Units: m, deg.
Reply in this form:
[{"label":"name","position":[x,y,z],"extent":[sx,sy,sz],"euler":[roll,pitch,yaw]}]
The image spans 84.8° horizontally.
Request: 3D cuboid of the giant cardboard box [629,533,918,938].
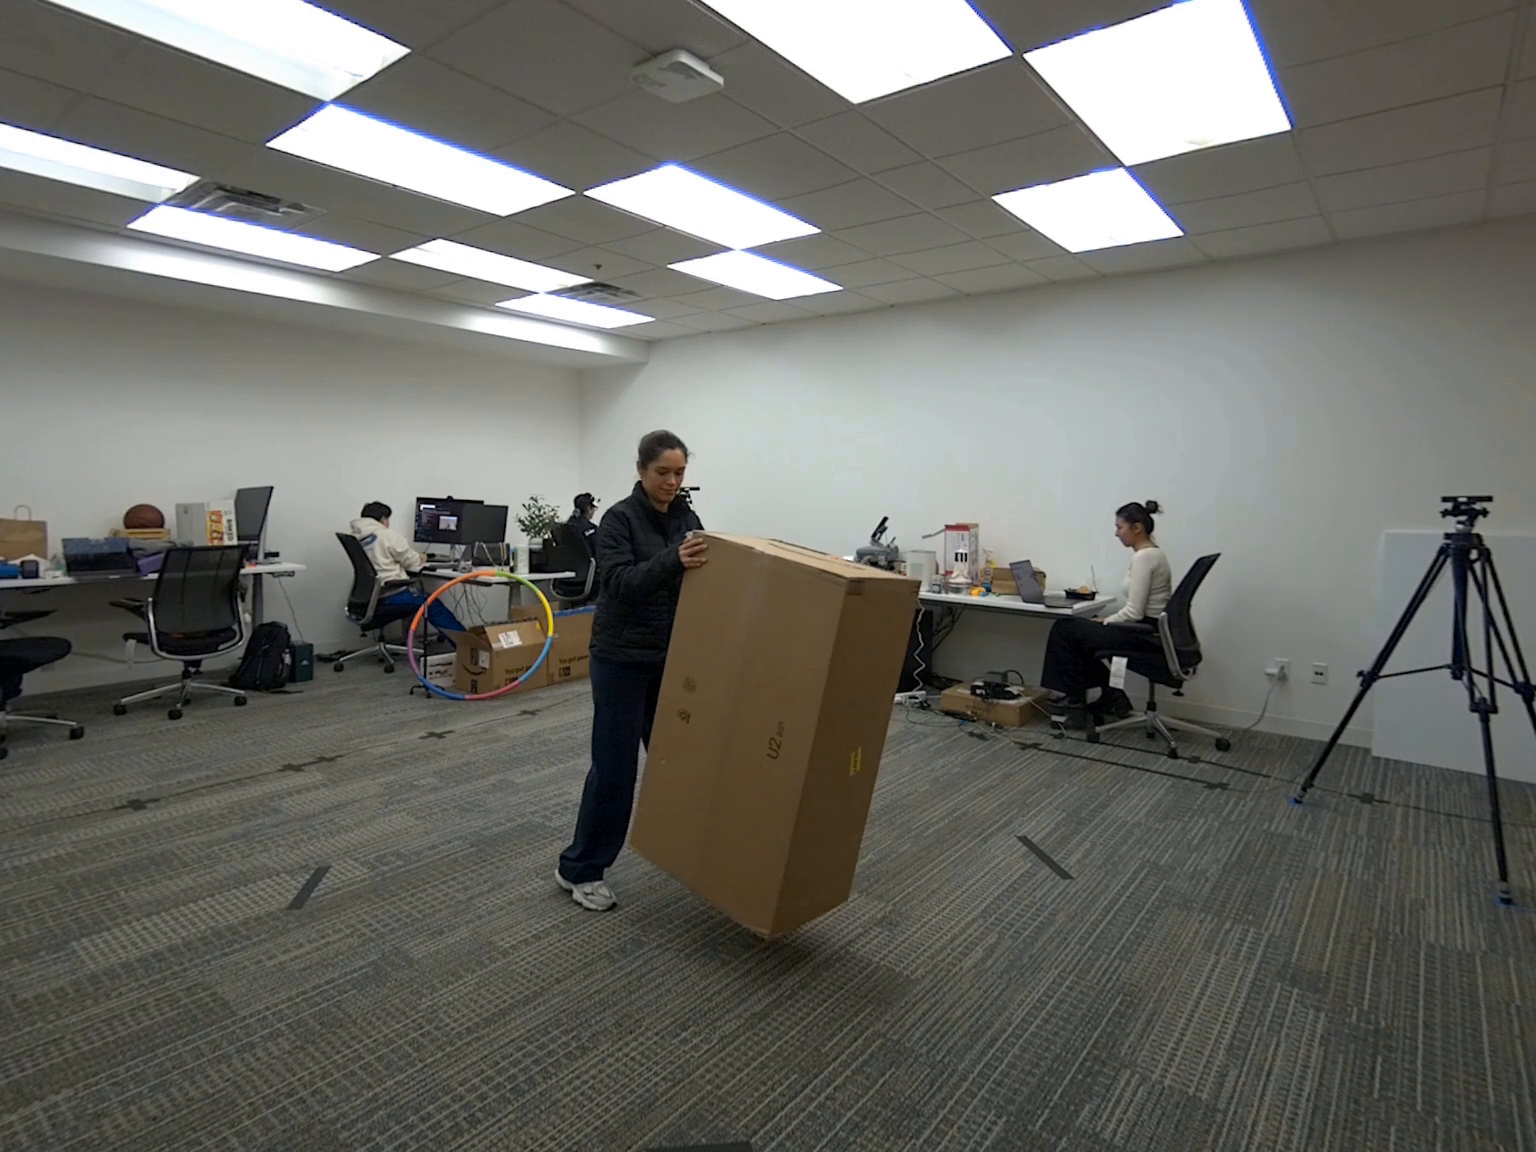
[{"label":"giant cardboard box","position":[0.022,0.438,2.620],"extent":[0.600,1.022,0.412],"euler":[16,7,39]}]
